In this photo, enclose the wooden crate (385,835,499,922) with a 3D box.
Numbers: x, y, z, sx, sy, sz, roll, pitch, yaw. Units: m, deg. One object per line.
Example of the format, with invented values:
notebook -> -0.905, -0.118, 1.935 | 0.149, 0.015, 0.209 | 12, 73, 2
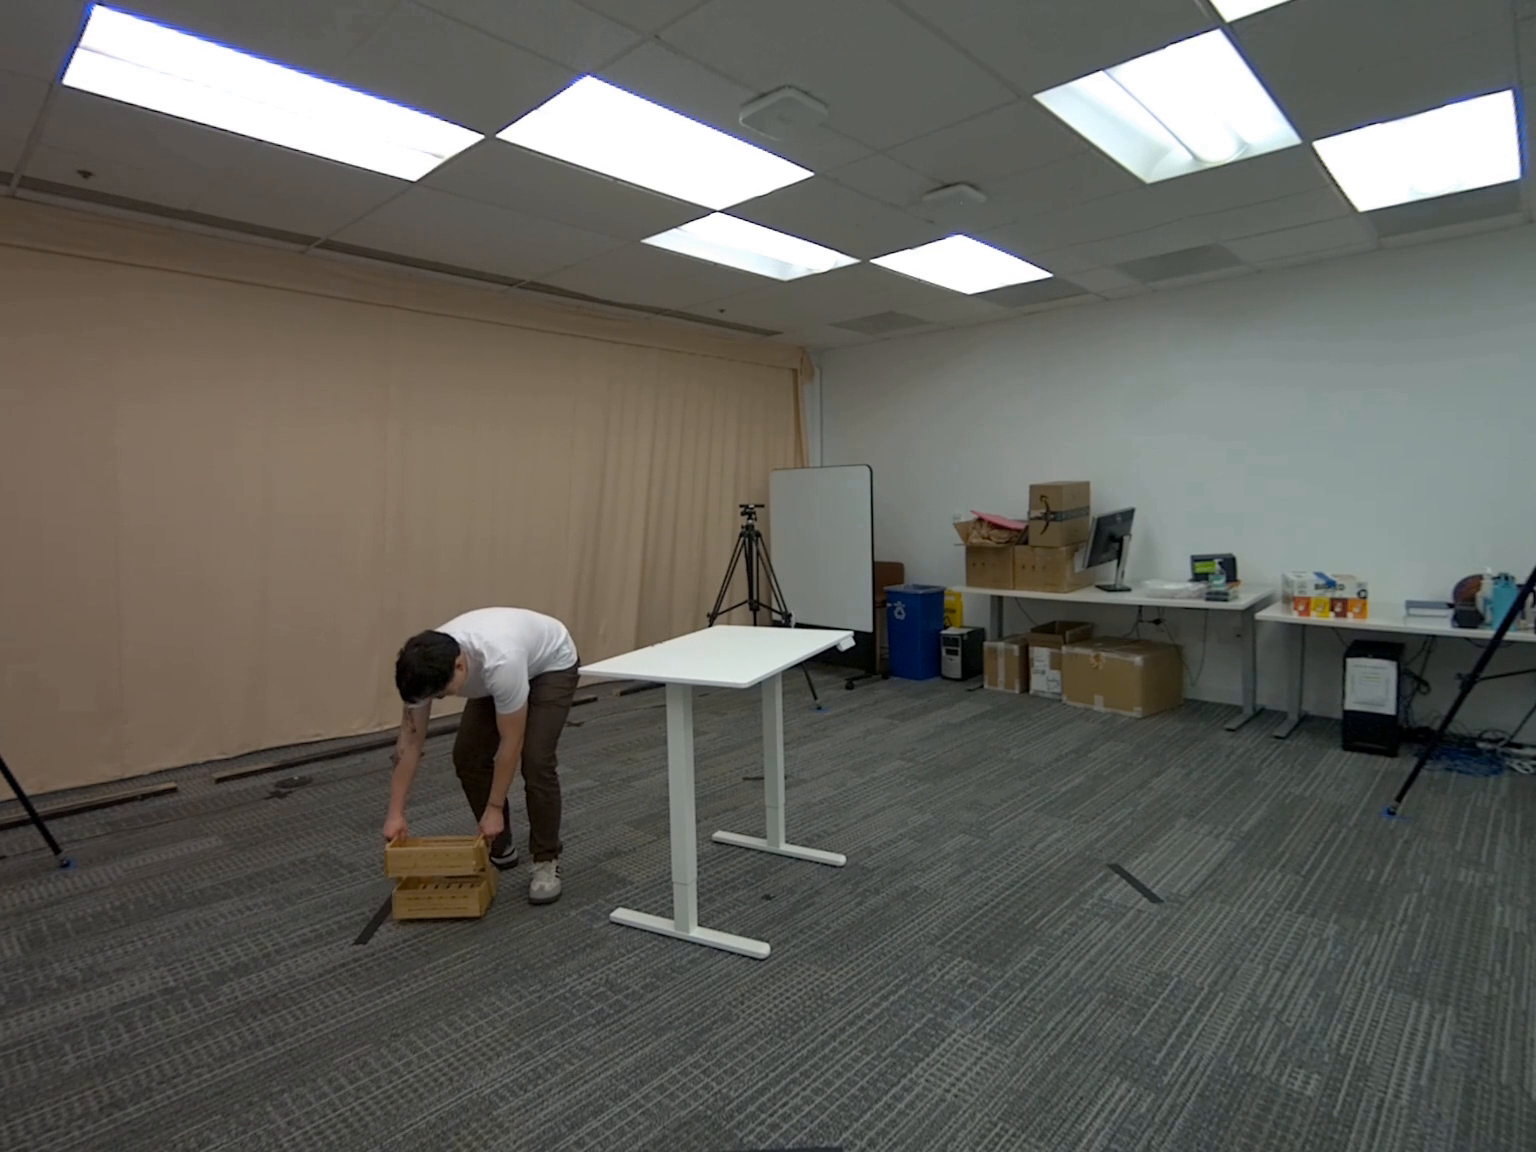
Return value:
wooden crate -> -1.134, 1.004, 2.922 | 0.323, 0.273, 0.304 | -1, 4, -4
